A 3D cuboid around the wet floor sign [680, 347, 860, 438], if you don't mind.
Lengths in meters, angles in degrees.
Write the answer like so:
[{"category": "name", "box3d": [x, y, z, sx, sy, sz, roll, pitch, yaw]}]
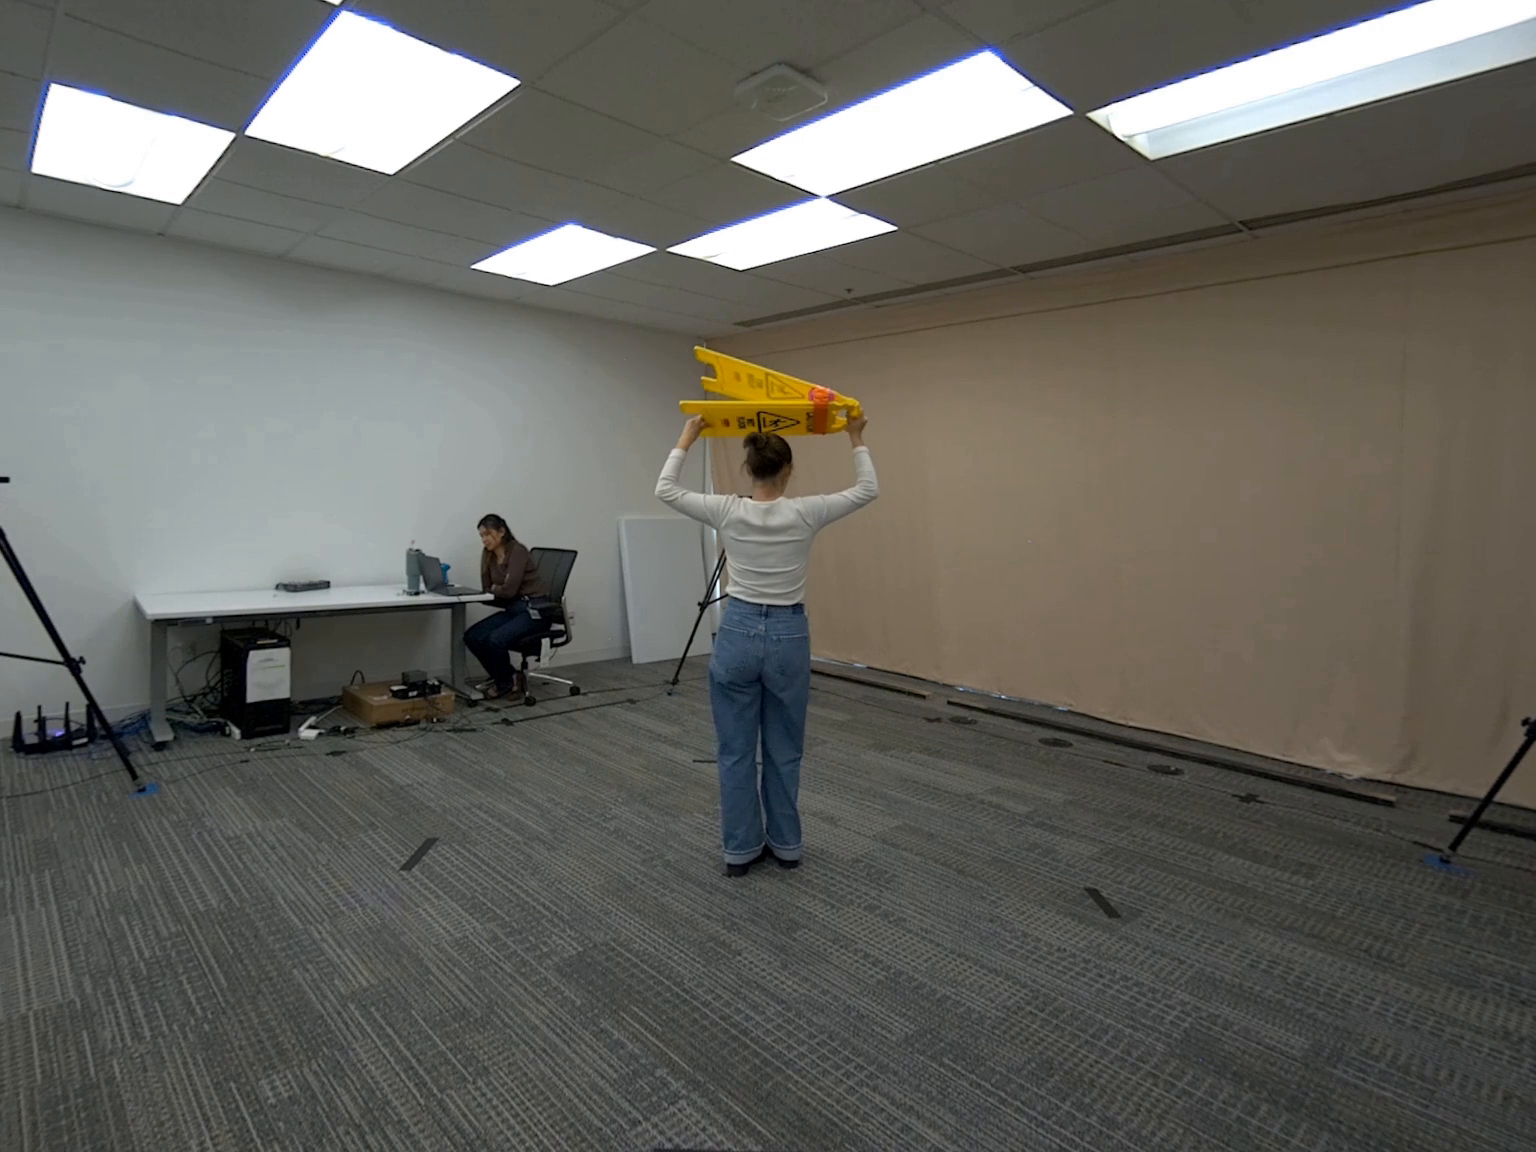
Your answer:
[{"category": "wet floor sign", "box3d": [0.018, -0.652, 3.202, 0.651, 0.293, 0.277, 9, -21, 7]}]
